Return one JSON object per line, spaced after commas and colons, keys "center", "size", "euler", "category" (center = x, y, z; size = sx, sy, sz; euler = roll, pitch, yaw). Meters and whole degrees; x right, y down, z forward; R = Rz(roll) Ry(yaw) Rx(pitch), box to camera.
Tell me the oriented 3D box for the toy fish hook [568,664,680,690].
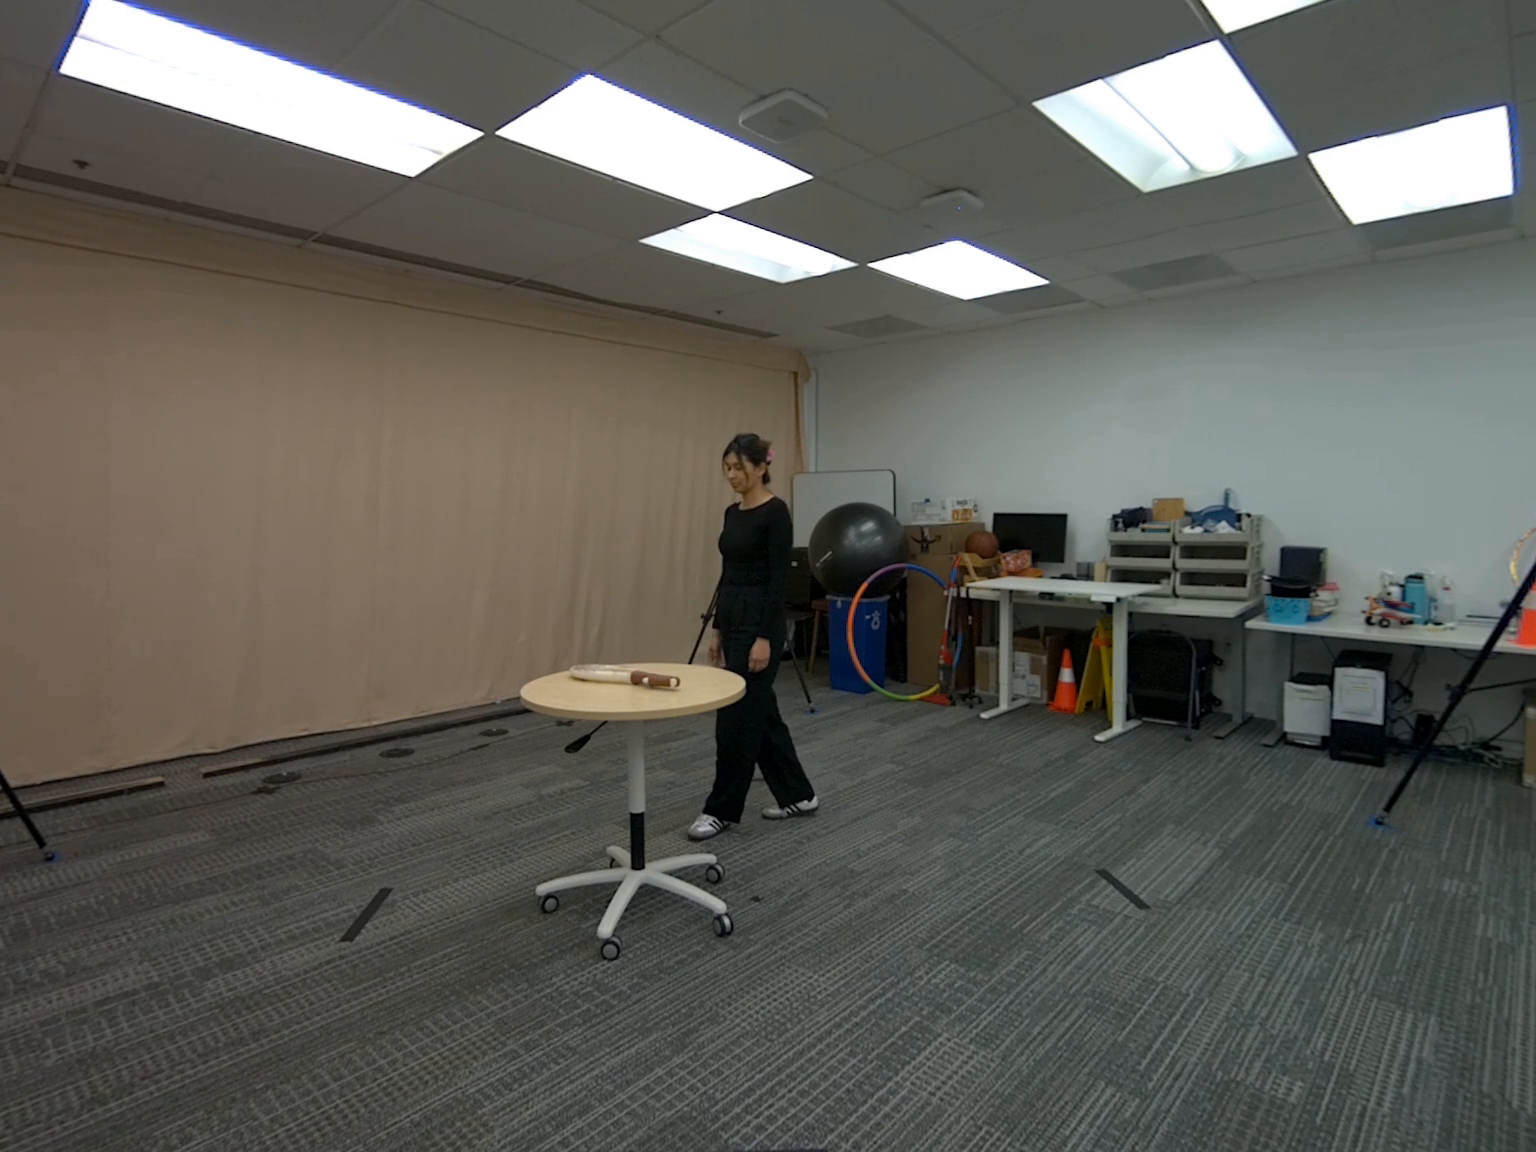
{"center": [-0.483, 0.345, 2.954], "size": [0.522, 0.048, 0.218], "euler": [2, 6, 33], "category": "toy fish hook"}
